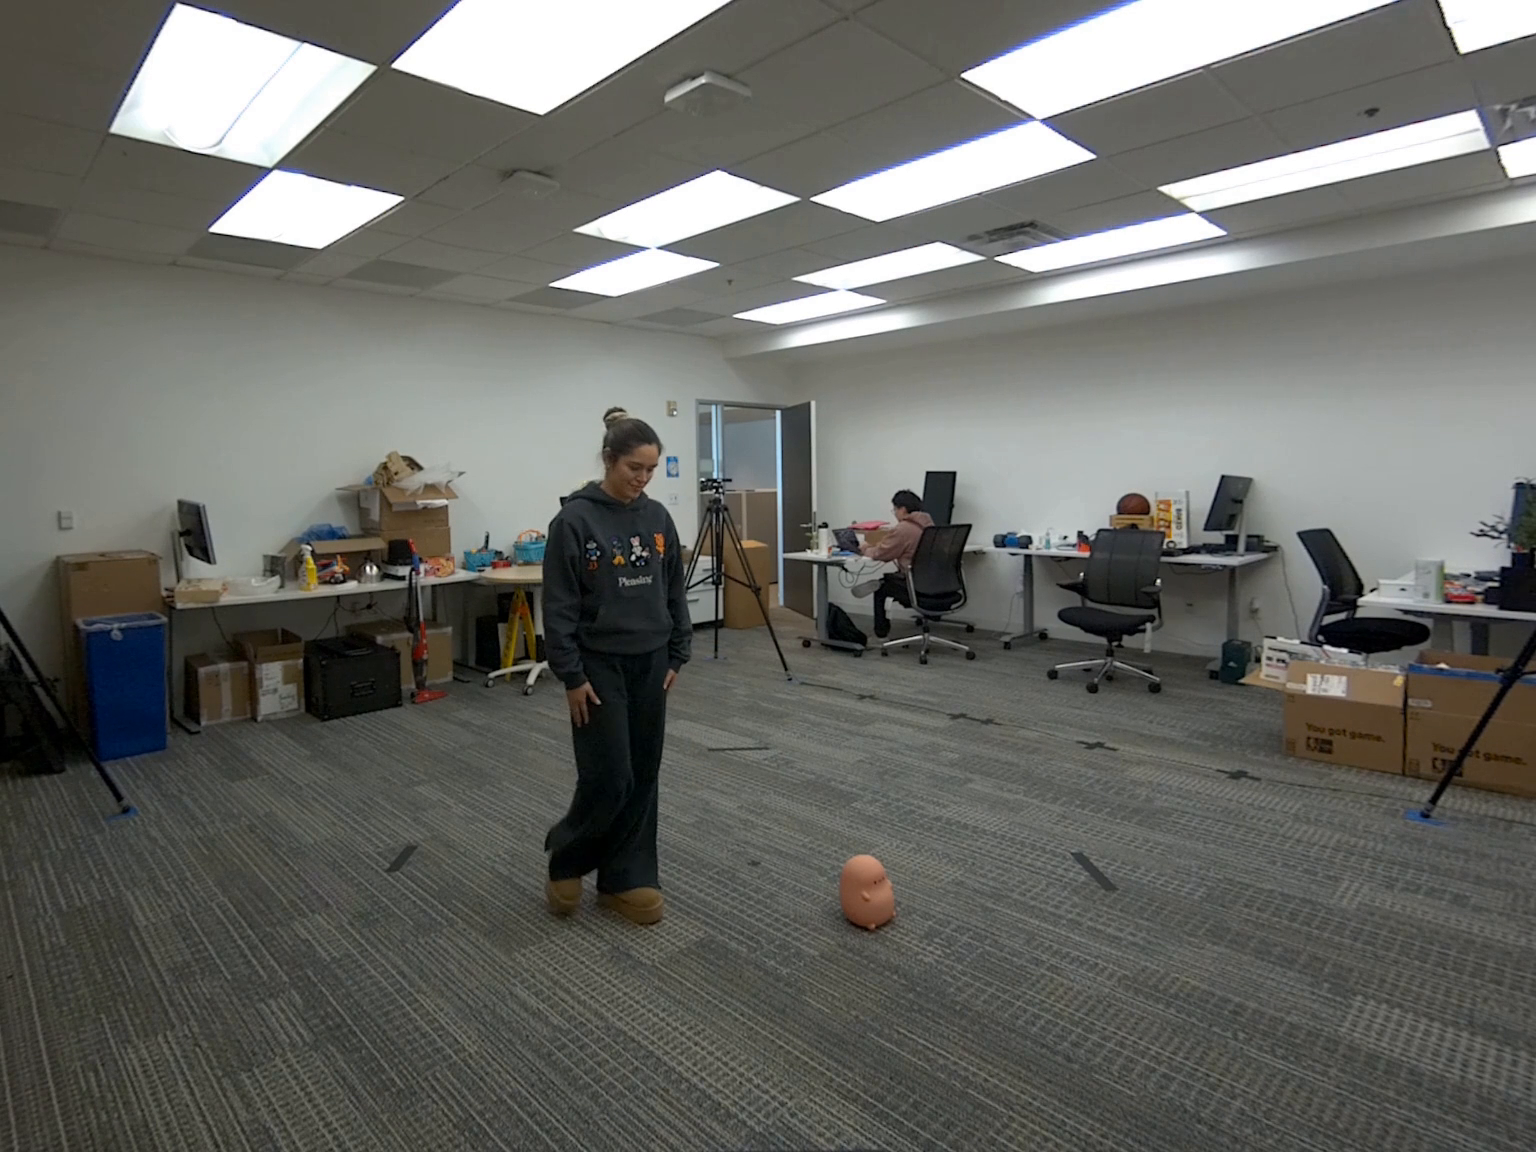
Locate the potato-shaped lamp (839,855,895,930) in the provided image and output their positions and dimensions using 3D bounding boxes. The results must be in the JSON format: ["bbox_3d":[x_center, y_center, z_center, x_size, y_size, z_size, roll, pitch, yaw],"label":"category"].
[{"bbox_3d":[0.308,0.981,2.683,0.160,0.197,0.176,-6,5,-40],"label":"potato-shaped lamp"}]
